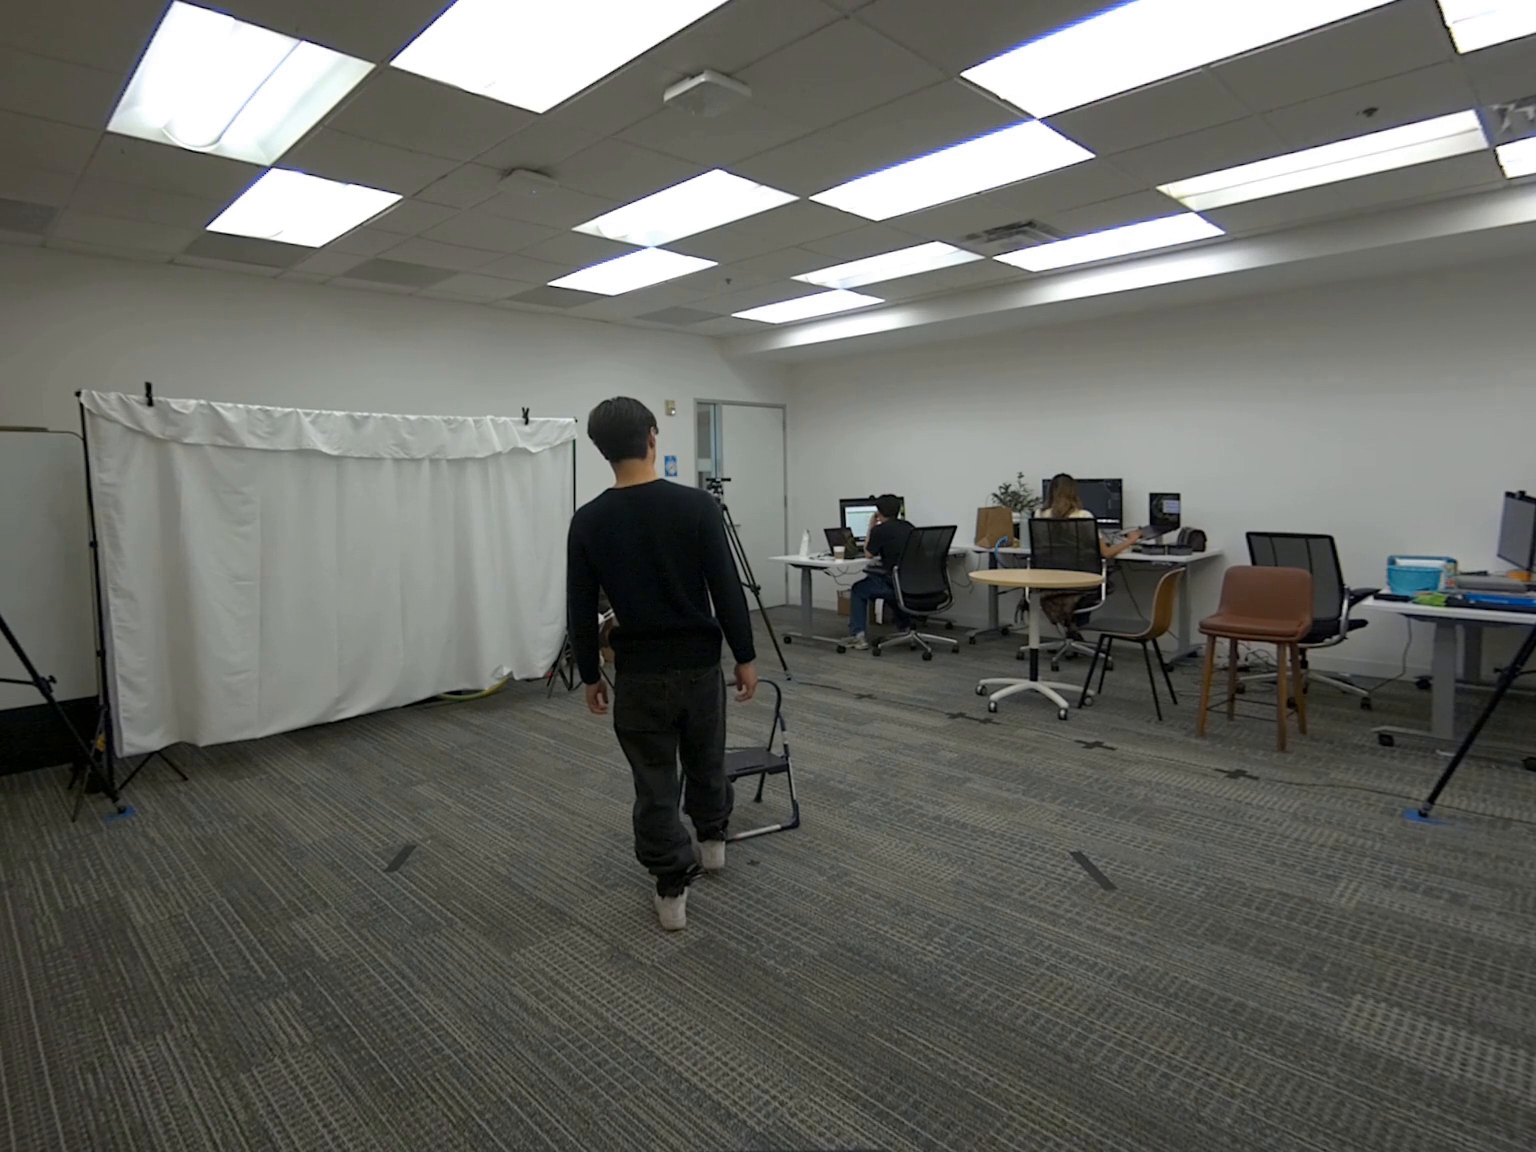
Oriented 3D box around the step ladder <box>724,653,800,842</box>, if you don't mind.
[{"bbox_3d":[-0.137,0.699,3.451,0.420,0.604,0.359,-3,5,-30],"label":"step ladder"}]
